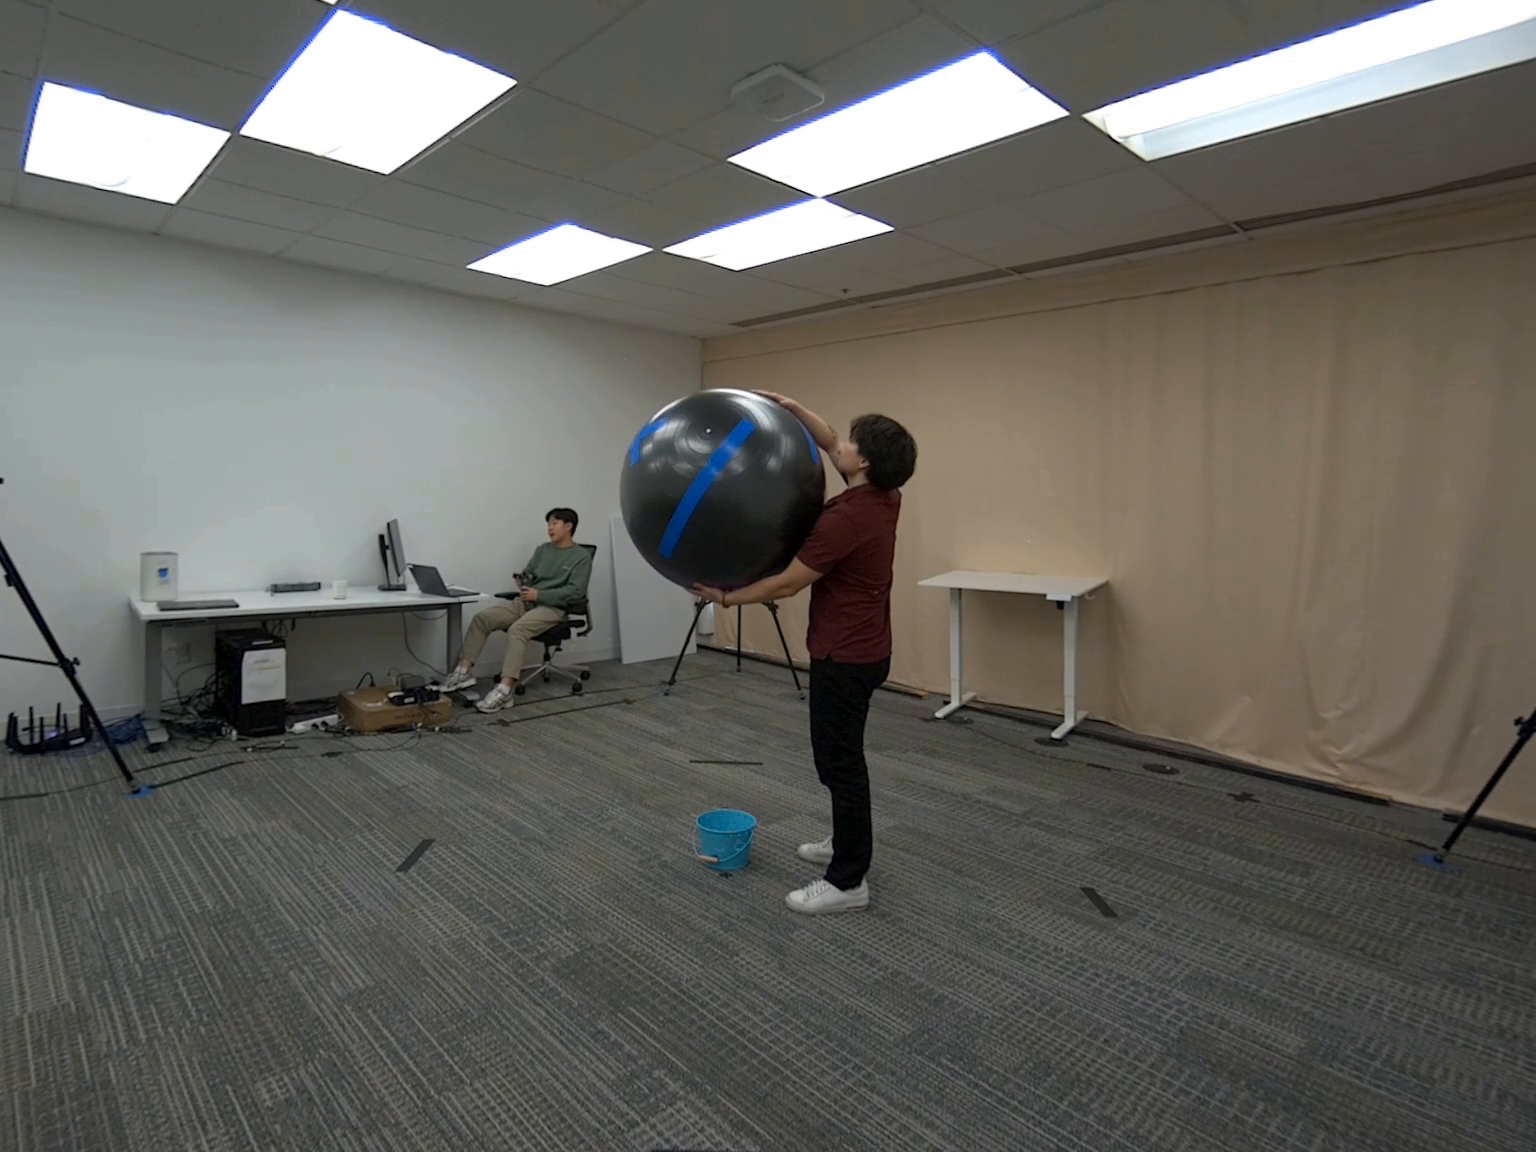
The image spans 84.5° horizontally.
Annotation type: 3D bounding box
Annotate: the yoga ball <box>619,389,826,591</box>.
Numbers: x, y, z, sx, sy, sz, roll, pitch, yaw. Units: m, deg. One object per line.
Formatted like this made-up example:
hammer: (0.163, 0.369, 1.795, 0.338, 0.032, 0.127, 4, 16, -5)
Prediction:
yoga ball: (-0.171, -0.296, 3.095, 0.757, 0.756, 0.761, 1, 4, -1)
